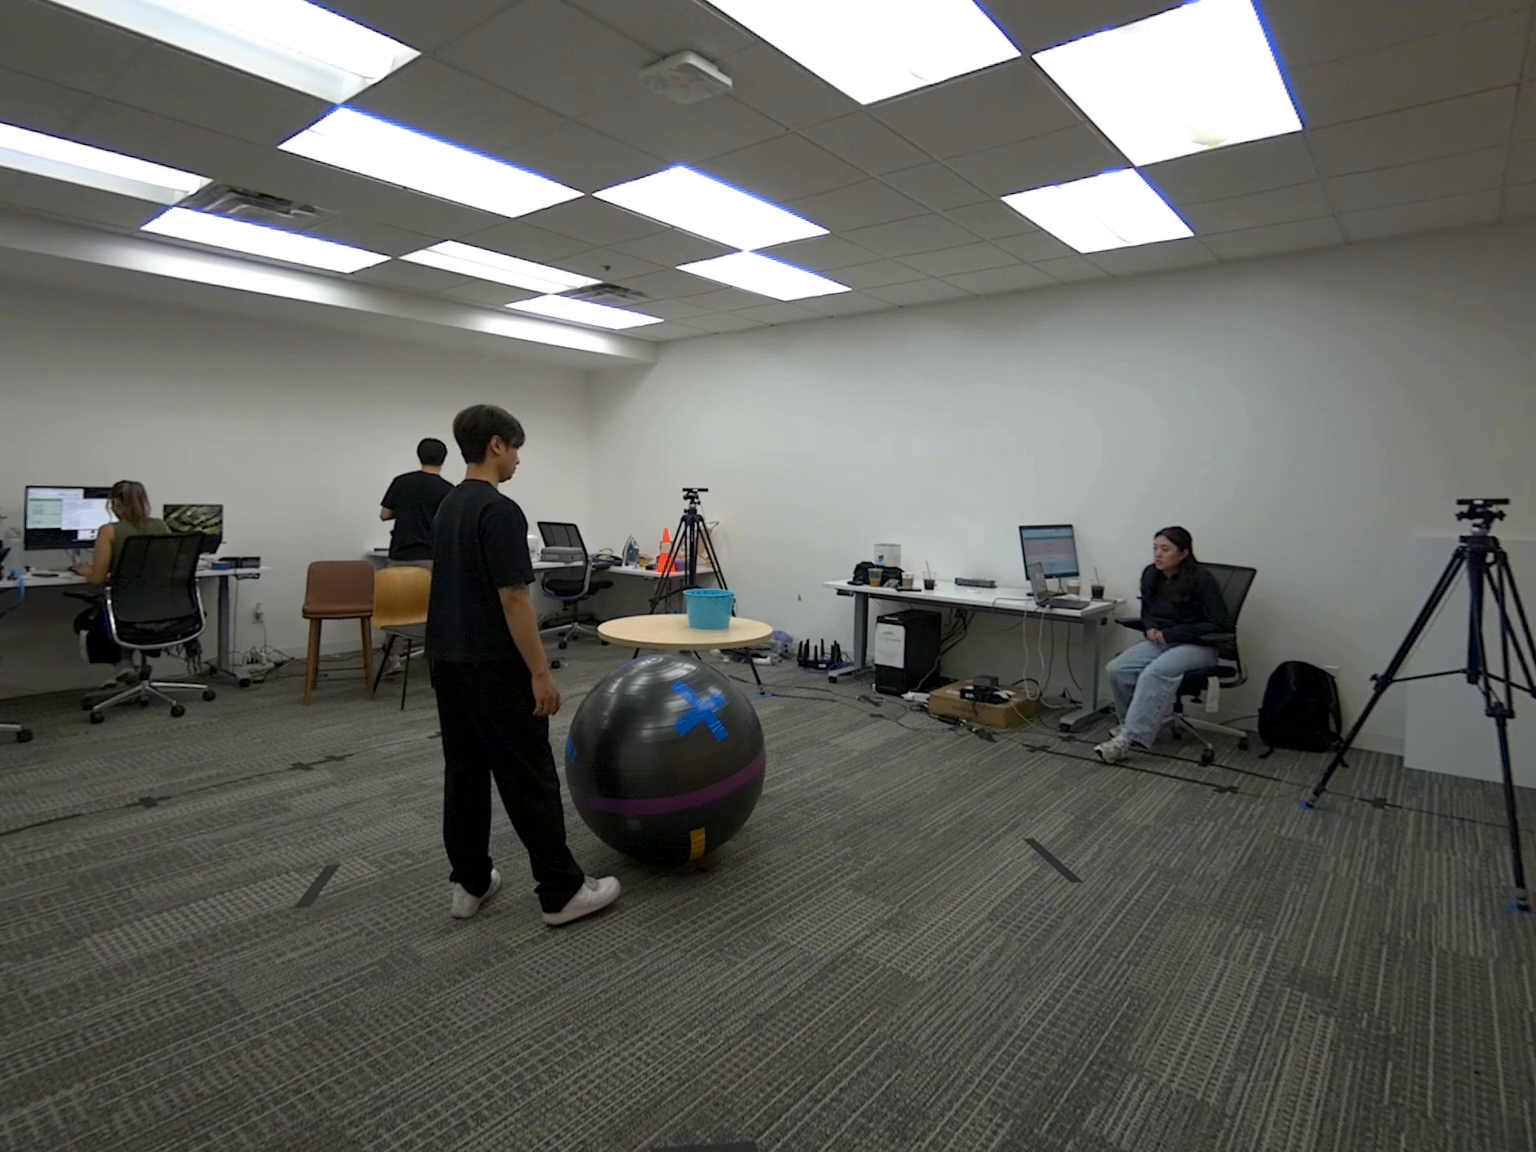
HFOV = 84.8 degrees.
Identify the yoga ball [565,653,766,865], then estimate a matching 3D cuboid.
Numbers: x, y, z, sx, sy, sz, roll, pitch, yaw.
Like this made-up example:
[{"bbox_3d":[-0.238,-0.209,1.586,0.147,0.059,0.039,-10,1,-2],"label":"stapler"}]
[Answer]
[{"bbox_3d":[-0.396,0.680,3.214,0.757,0.755,0.762,1,4,-2],"label":"yoga ball"}]
